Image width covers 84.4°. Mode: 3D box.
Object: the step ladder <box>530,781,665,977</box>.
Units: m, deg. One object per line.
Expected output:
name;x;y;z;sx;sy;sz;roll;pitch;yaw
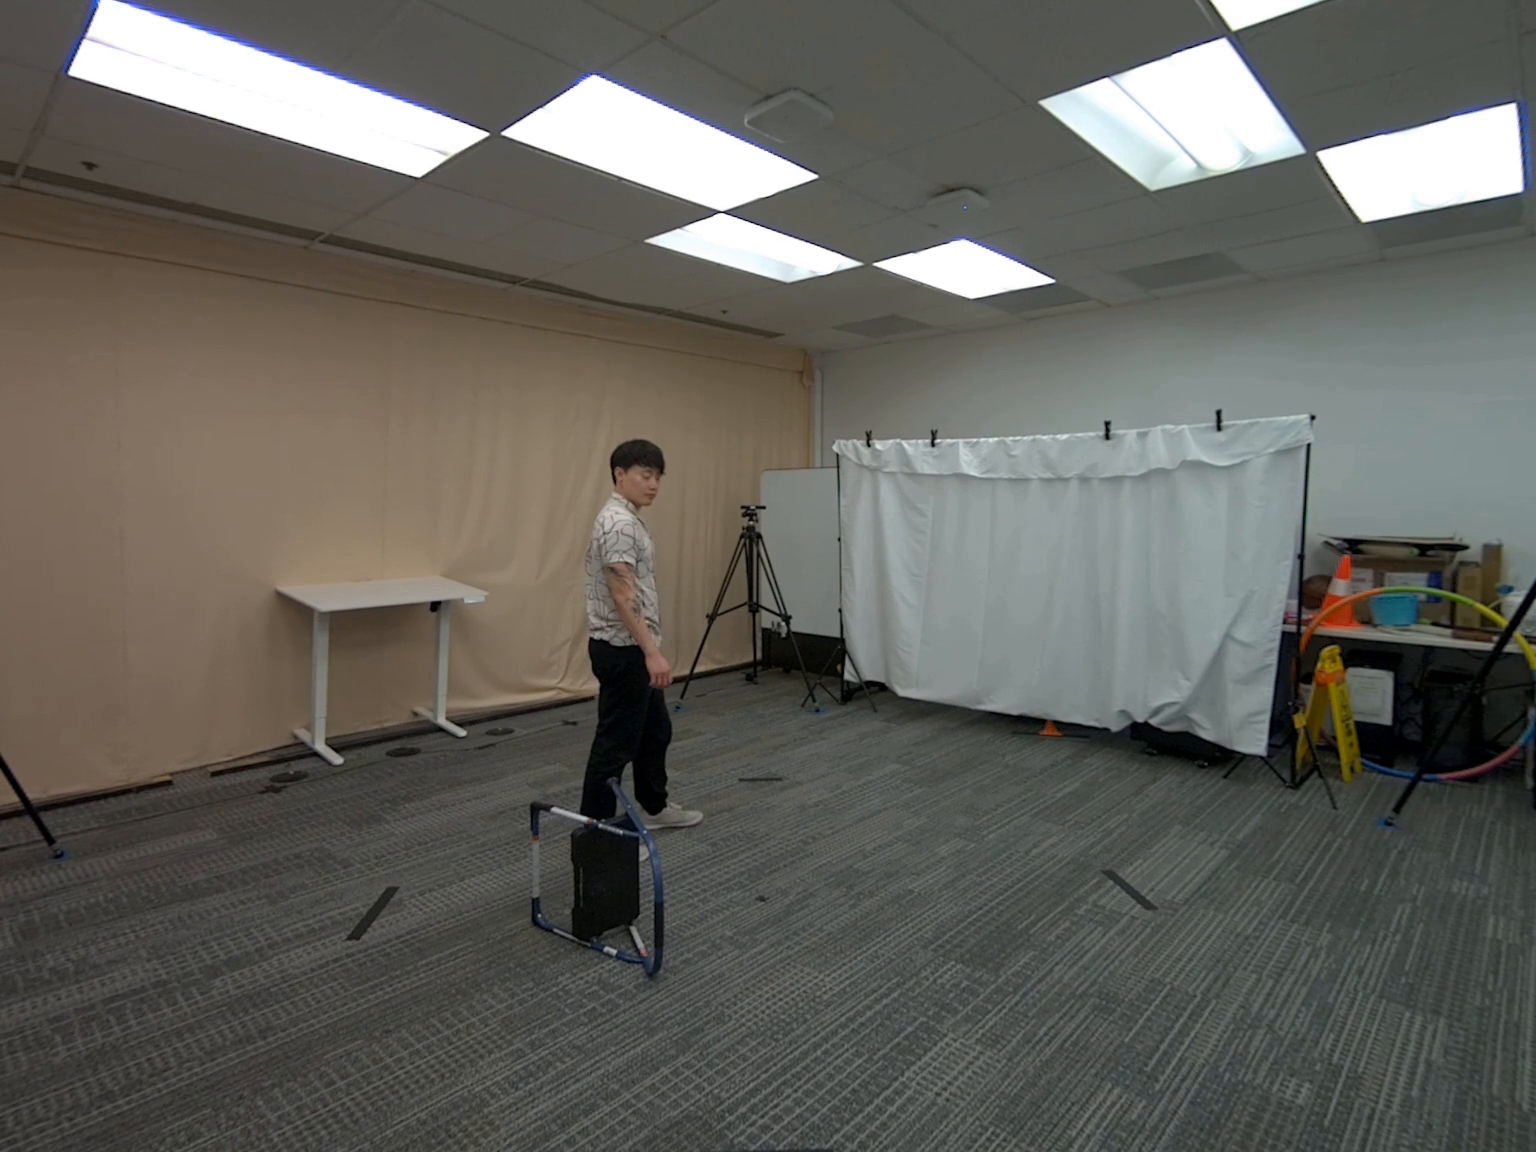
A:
step ladder;-0.455;0.962;2.677;0.339;0.429;0.626;-5;6;-41
